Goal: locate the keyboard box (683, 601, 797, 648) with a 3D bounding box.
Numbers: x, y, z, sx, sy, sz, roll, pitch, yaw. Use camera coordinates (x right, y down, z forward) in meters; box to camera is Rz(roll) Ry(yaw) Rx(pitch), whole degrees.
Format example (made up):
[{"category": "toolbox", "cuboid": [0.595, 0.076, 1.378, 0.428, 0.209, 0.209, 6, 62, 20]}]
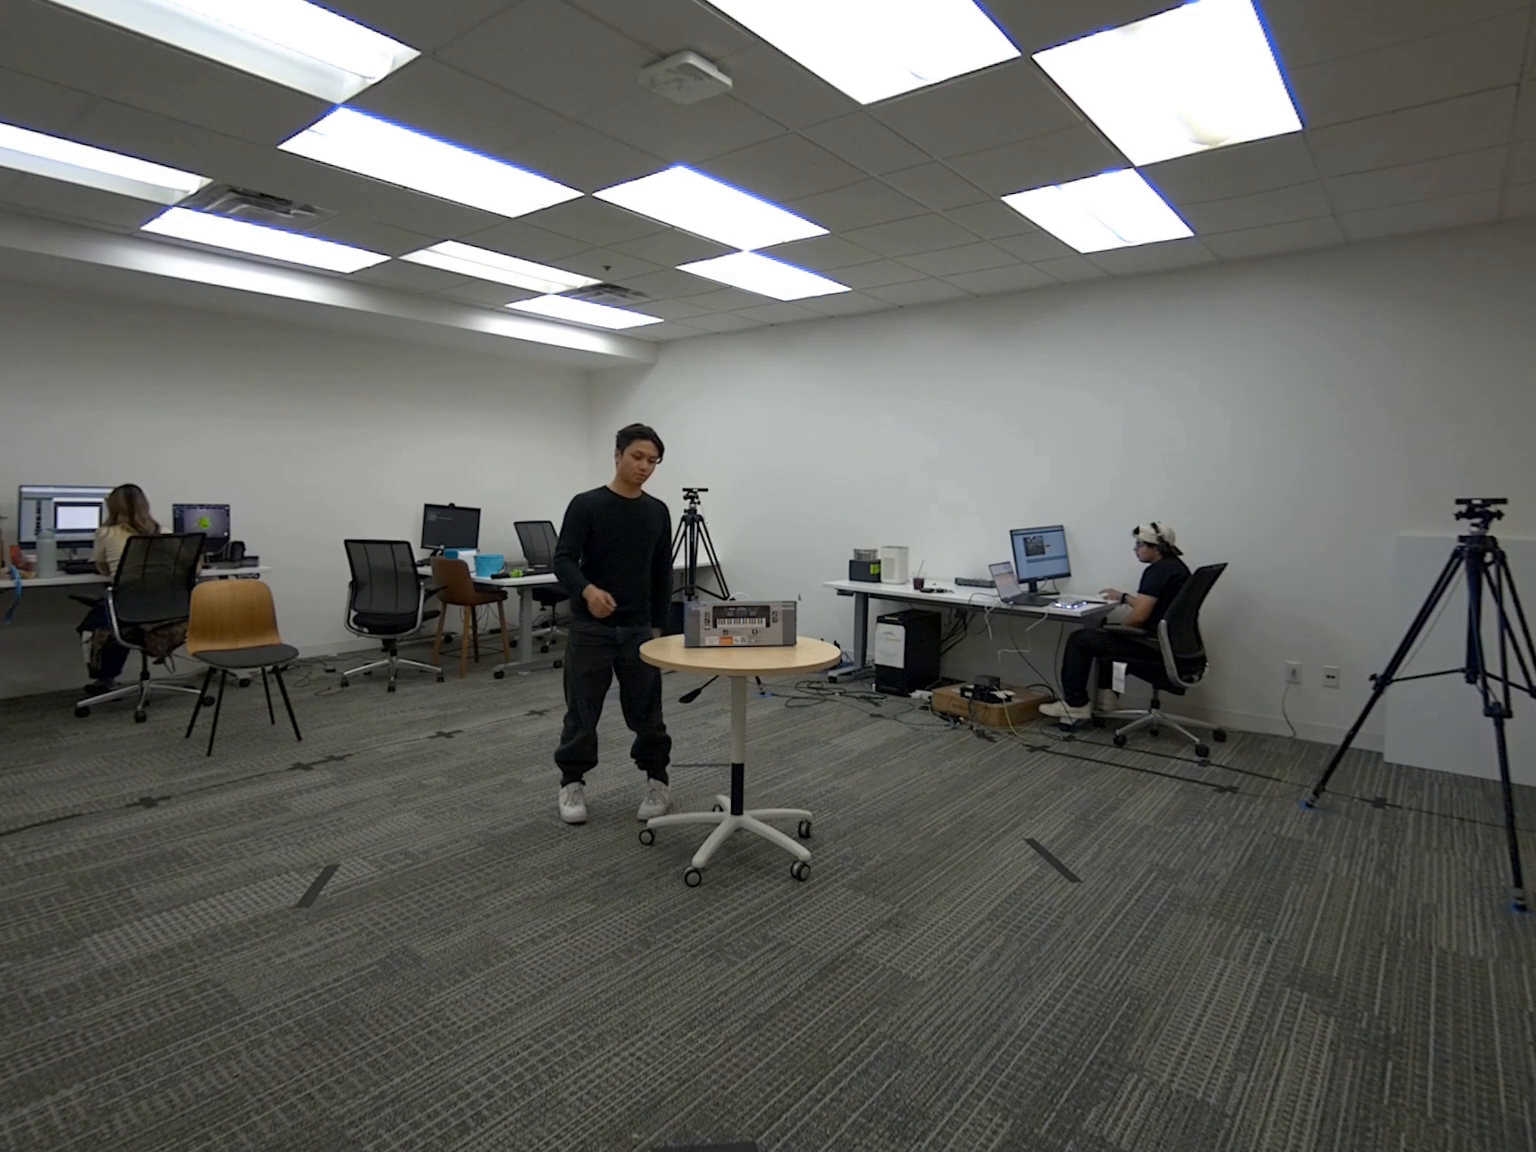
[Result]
[{"category": "keyboard box", "cuboid": [-0.114, 0.182, 3.305, 0.433, 0.176, 0.059, -1, -1, -8]}]
